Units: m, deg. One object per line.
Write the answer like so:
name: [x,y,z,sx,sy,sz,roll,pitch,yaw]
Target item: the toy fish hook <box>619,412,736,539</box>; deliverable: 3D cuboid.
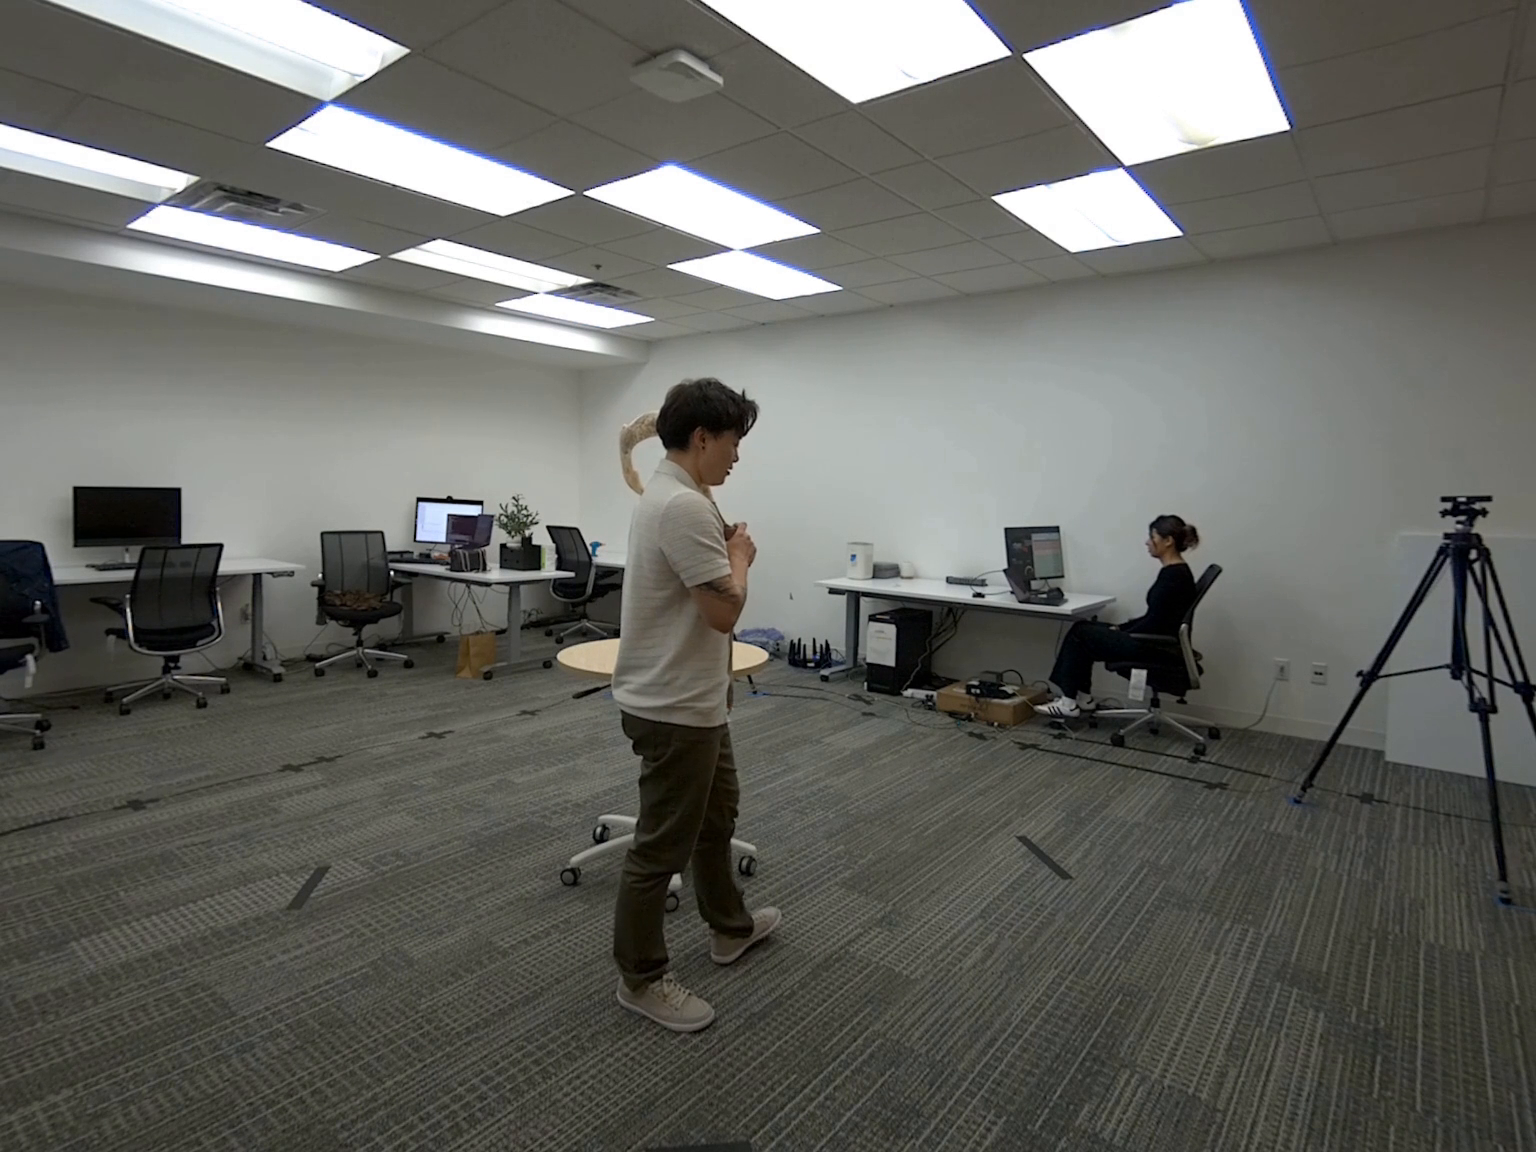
toy fish hook: [-0.232,-0.214,2.305,0.223,0.509,0.048,-32,-3,-16]
